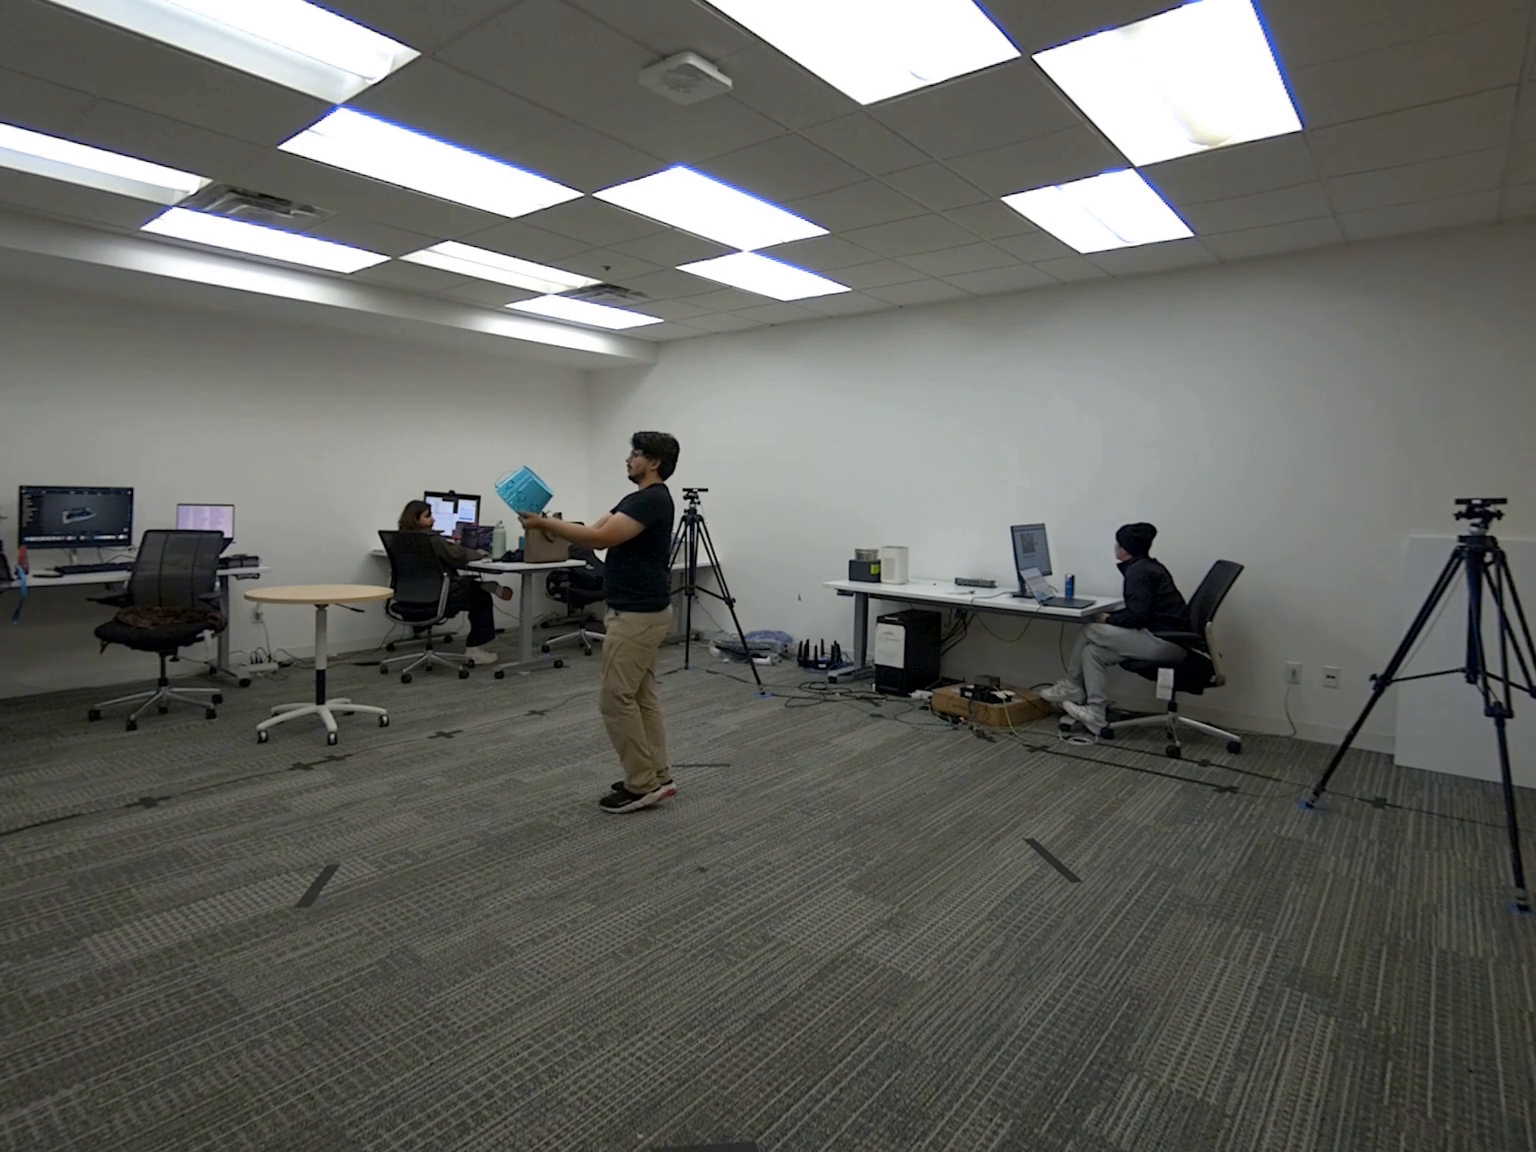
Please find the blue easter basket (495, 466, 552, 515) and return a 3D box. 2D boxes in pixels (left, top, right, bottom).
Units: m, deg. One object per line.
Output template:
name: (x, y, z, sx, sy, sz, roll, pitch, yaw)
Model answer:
blue easter basket: (-1.062, -0.370, 3.691, 0.156, 0.242, 0.245, -44, 4, 2)
